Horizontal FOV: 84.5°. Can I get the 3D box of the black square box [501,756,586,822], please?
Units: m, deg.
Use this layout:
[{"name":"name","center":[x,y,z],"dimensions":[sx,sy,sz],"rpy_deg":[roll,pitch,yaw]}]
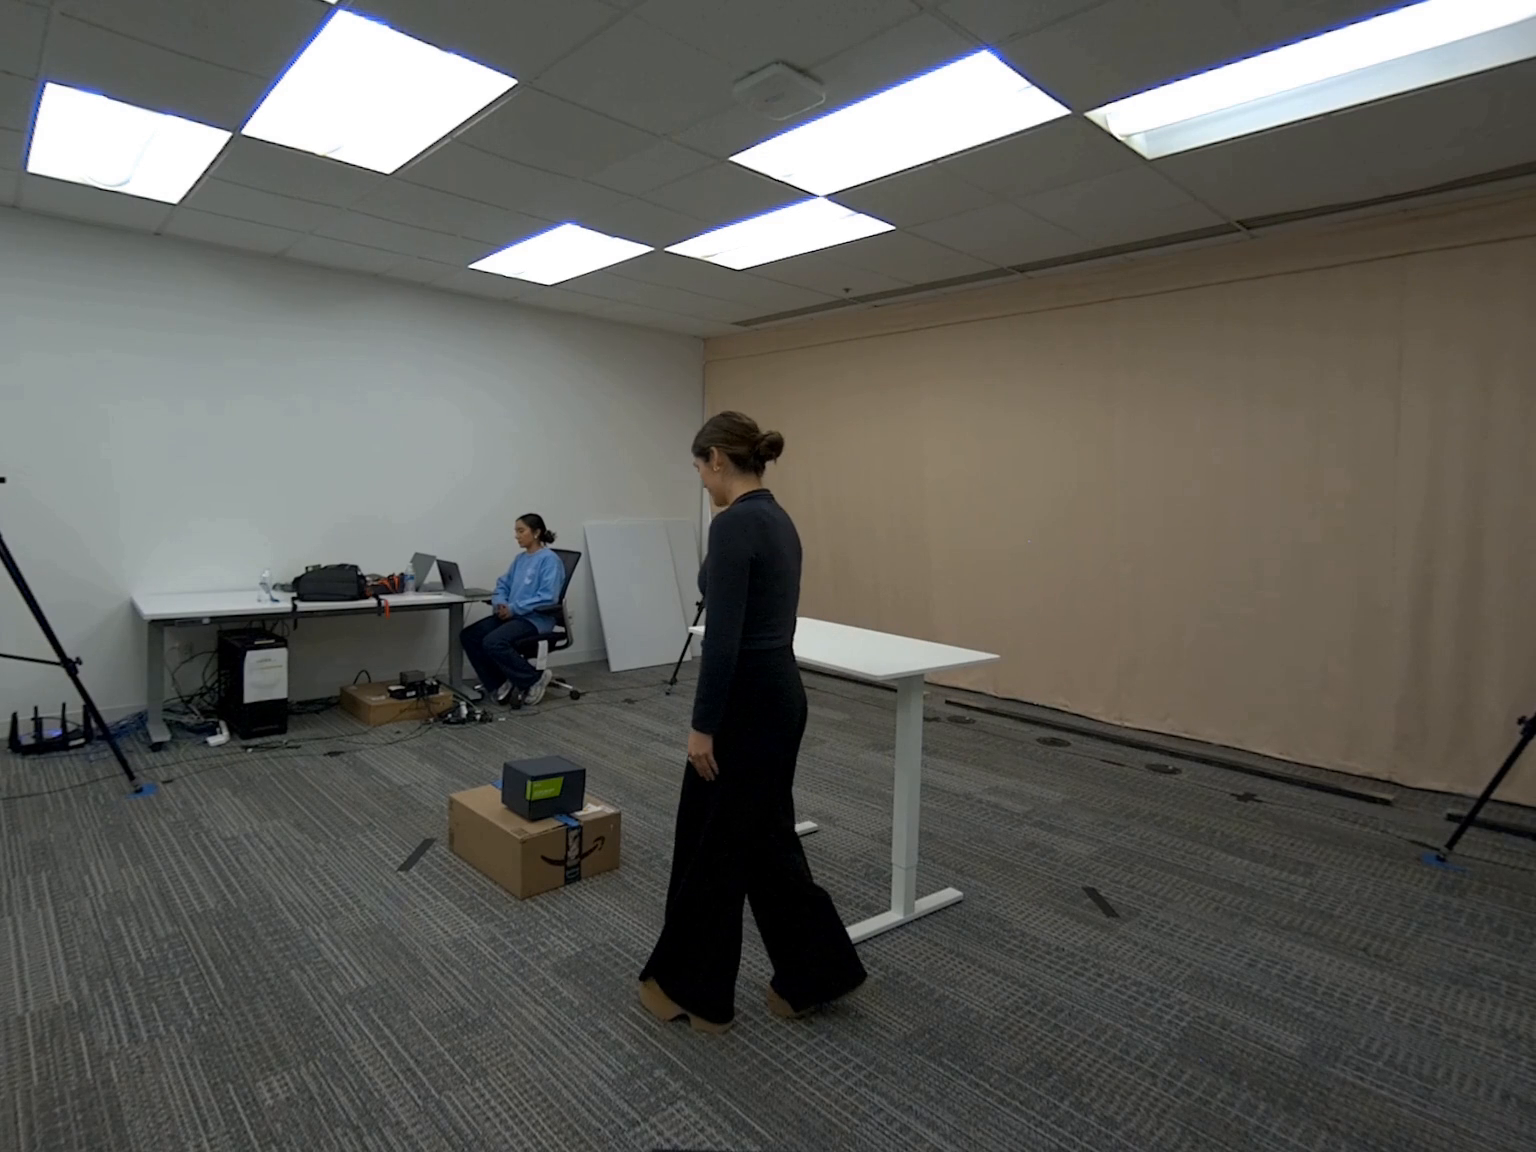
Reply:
[{"name":"black square box","center":[-0.841,0.780,3.128],"dimensions":[0.222,0.156,0.222],"rpy_deg":[3,2,-44]}]
